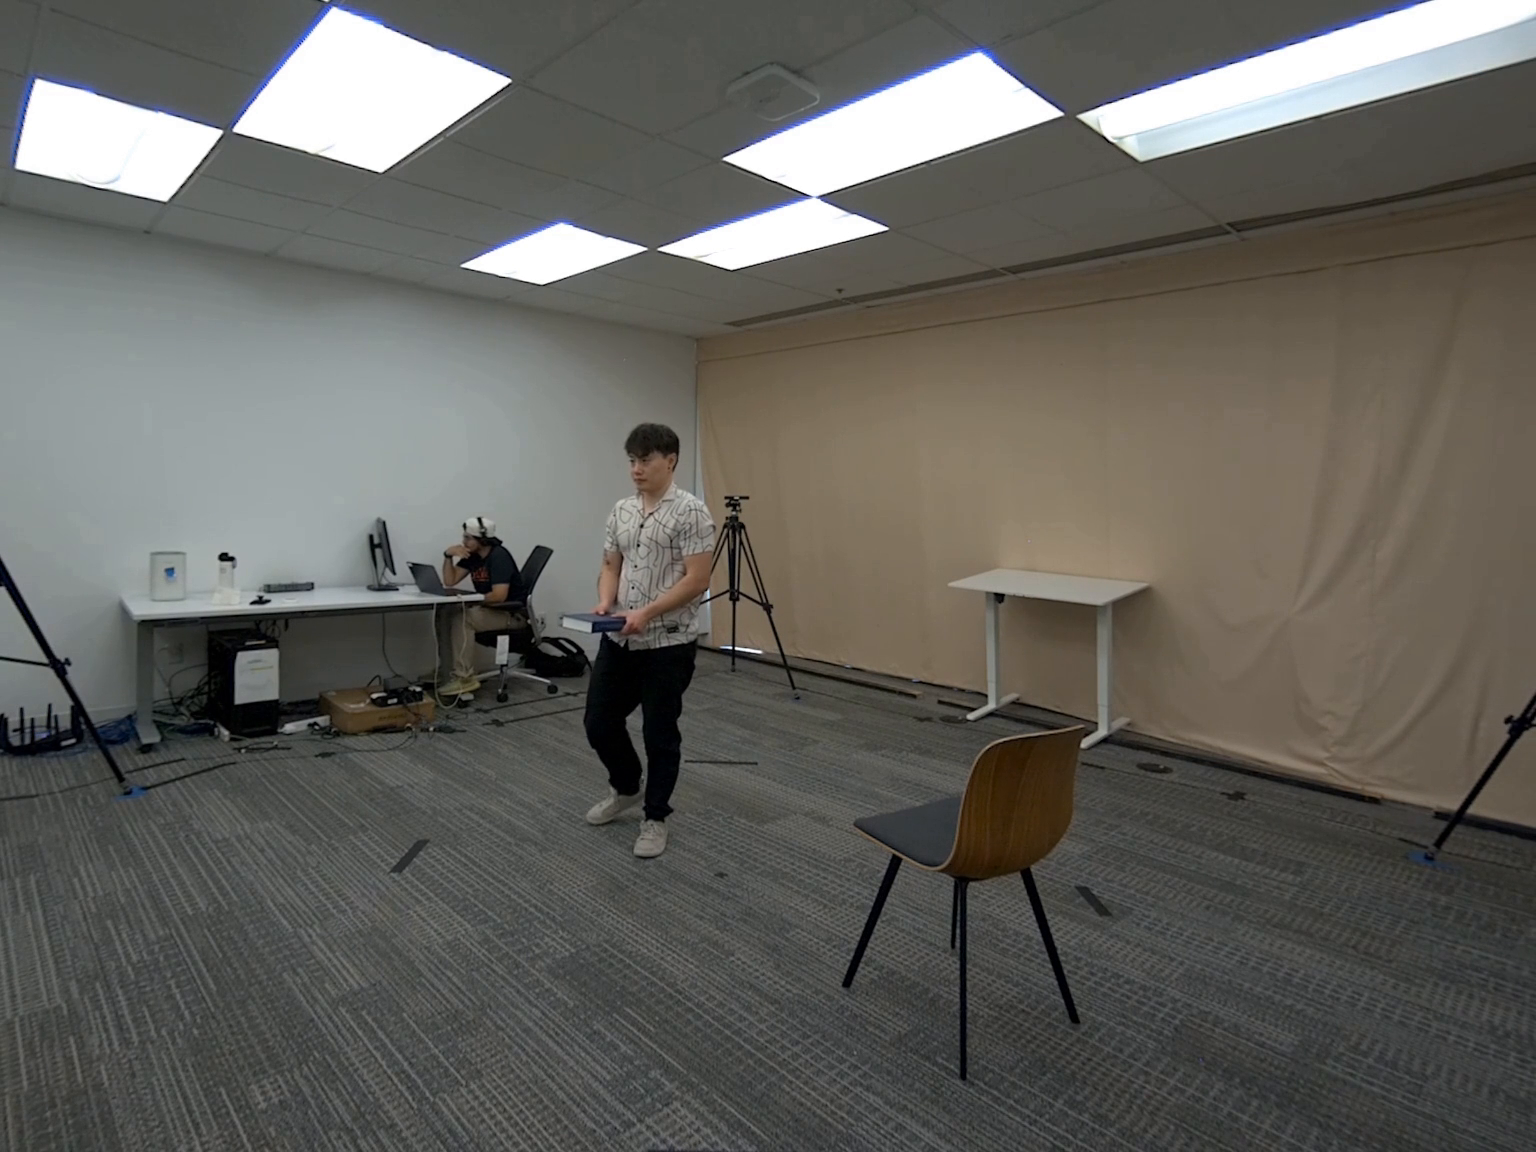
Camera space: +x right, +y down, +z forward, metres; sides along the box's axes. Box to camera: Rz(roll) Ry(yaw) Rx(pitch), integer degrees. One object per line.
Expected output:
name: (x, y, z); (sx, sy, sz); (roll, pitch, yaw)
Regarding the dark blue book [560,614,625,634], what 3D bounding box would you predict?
dark blue book: (-0.621, 0.170, 3.080); (0.167, 0.045, 0.239); (9, 5, 33)
